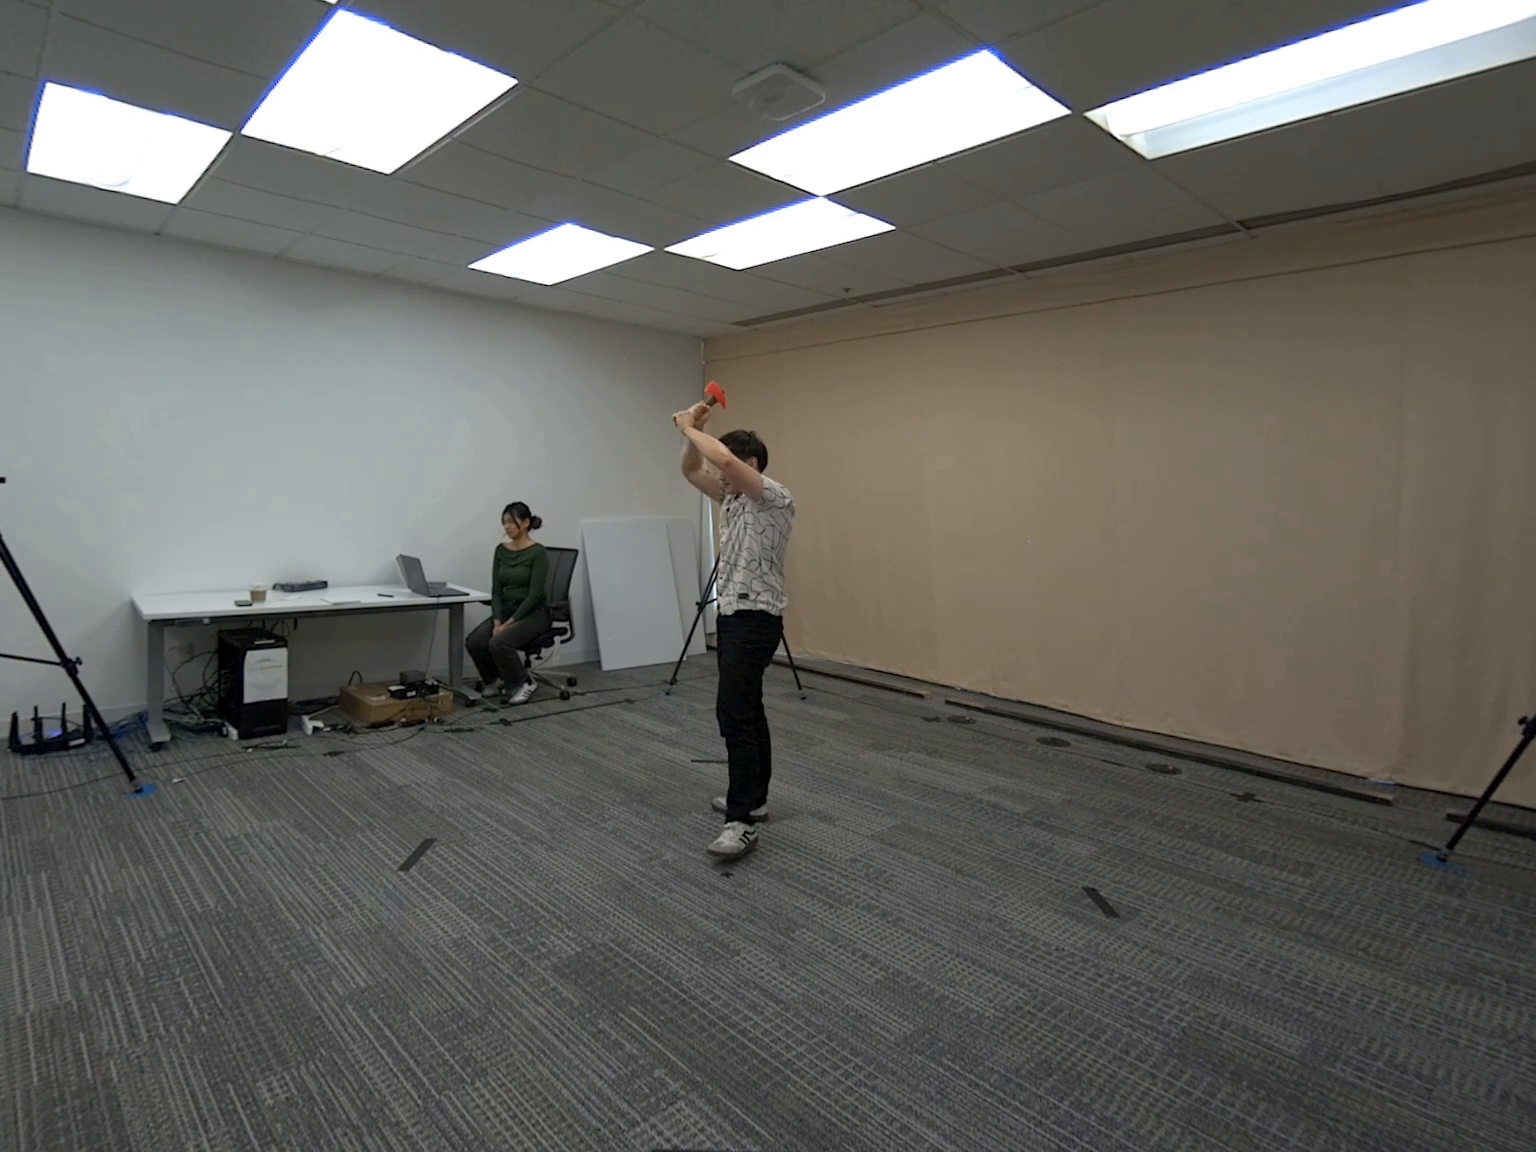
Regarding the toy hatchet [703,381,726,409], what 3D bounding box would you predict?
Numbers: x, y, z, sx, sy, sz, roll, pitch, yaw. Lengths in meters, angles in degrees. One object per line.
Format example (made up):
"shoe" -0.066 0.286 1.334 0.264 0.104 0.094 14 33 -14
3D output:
"toy hatchet" -0.296 -0.717 3.461 0.267 0.128 0.030 -26 31 -31
